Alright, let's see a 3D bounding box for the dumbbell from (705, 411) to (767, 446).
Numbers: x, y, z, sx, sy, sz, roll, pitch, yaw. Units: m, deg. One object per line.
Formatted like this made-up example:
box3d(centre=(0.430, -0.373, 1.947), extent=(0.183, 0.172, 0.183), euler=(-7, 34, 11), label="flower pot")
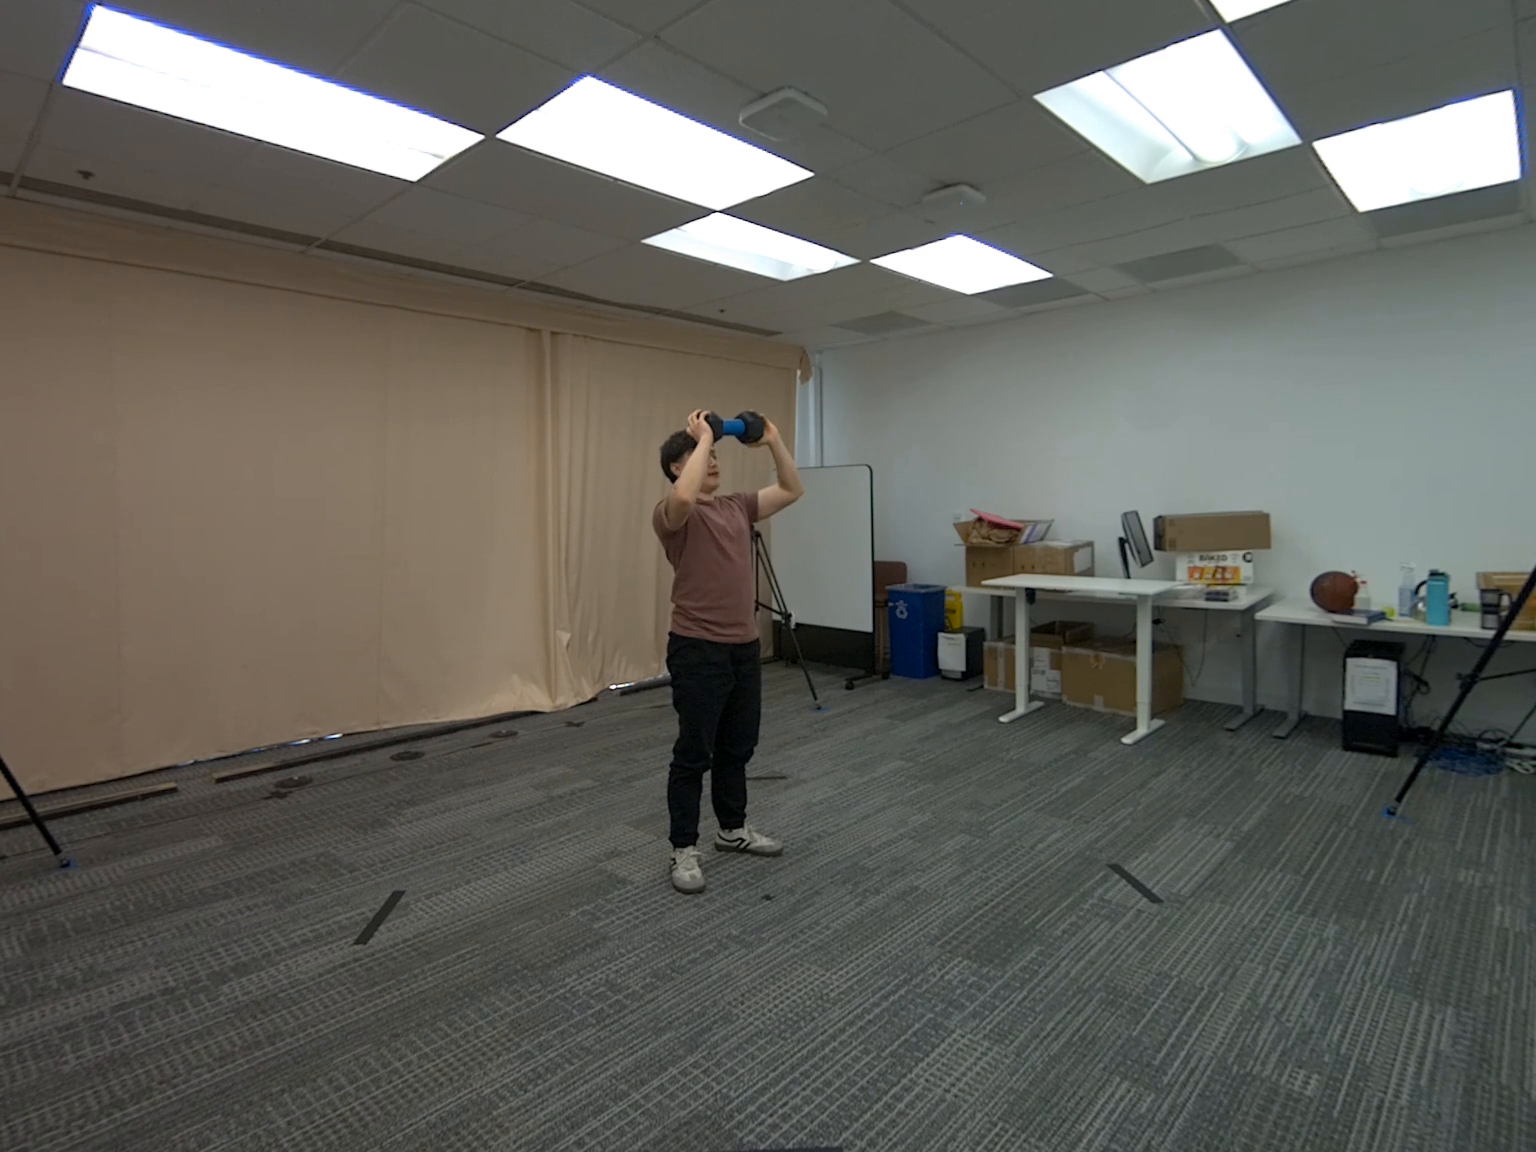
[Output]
box3d(centre=(-0.143, -0.546, 3.104), extent=(0.285, 0.108, 0.127), euler=(-10, 48, -43), label="dumbbell")
